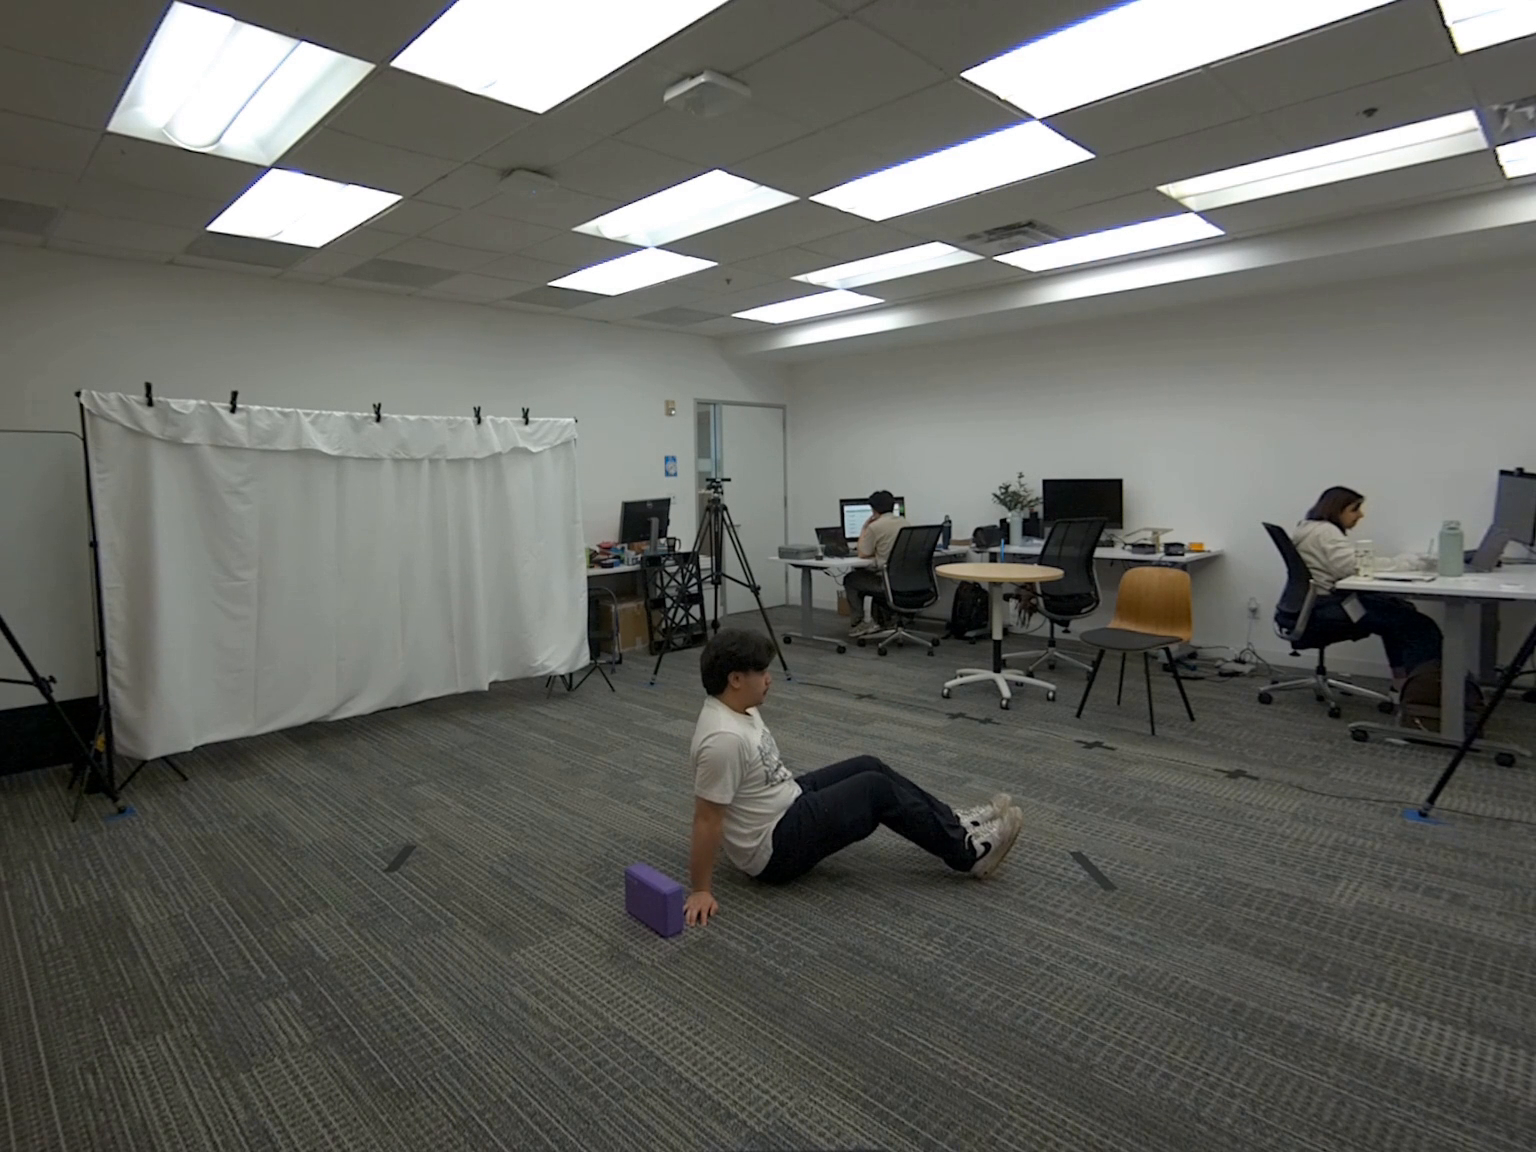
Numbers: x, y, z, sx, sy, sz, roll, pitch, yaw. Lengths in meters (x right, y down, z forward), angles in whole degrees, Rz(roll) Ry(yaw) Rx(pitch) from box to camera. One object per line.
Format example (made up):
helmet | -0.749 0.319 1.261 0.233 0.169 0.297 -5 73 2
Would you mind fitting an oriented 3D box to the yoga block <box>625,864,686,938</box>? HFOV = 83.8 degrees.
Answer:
yoga block | -0.355 1.018 2.703 0.074 0.148 0.236 -6 9 -37
